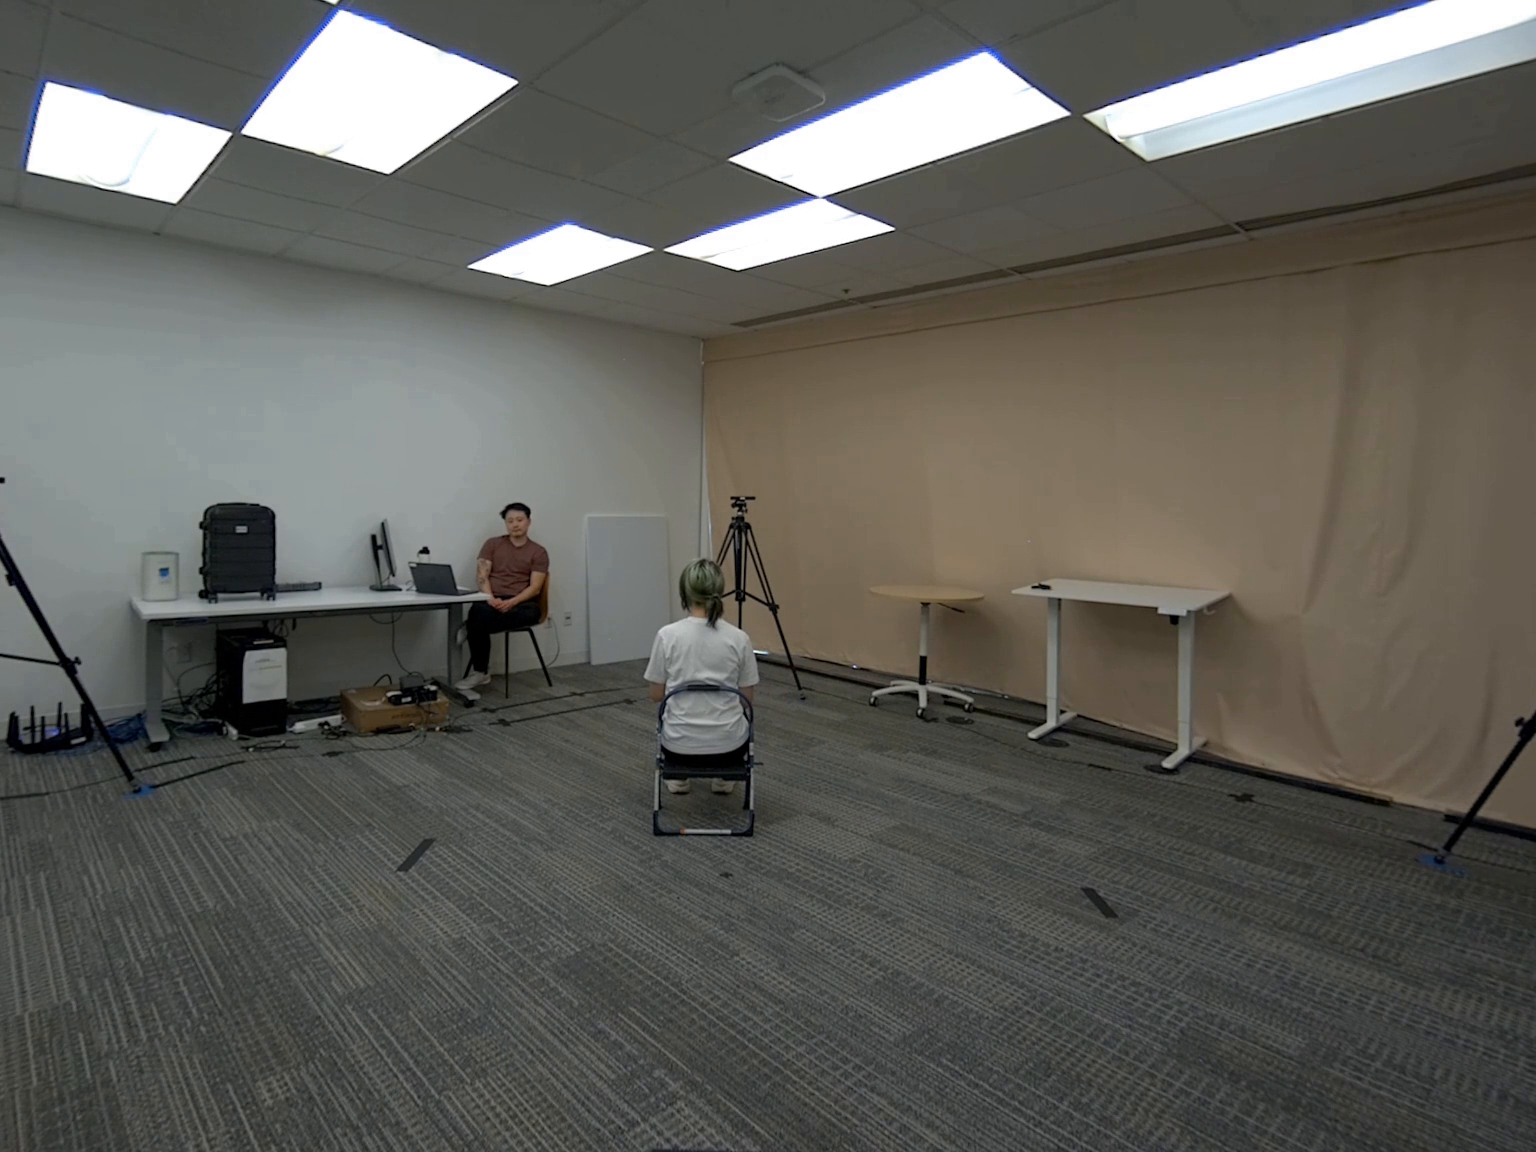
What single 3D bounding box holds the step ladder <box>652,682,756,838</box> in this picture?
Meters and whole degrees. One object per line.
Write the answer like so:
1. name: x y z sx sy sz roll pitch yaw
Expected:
1. step ladder: -0.283 0.760 3.613 0.429 0.605 0.351 1 2 -5
